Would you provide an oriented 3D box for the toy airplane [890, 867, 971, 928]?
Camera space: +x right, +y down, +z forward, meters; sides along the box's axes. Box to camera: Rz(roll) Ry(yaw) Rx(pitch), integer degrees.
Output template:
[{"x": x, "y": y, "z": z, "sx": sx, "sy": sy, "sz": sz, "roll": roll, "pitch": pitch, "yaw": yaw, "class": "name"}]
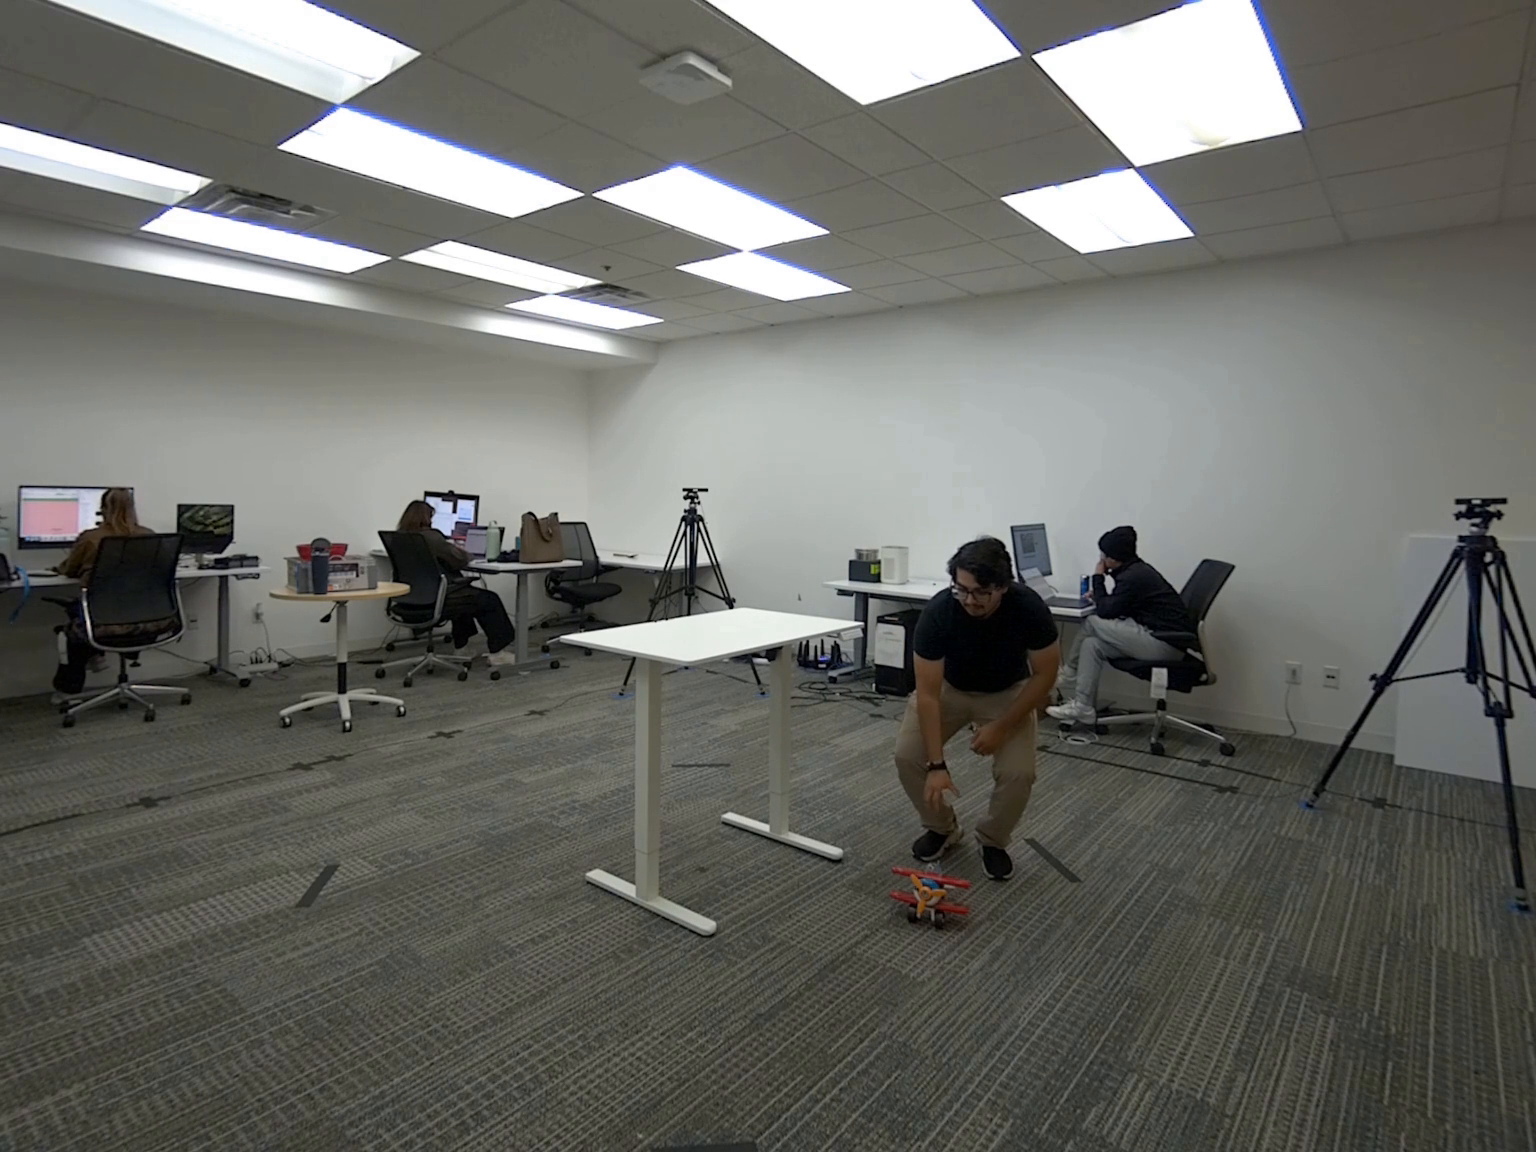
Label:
[{"x": 0.520, "y": 1.041, "z": 2.825, "sx": 0.250, "sy": 0.156, "sz": 0.262, "roll": 2, "pitch": 6, "yaw": -6, "class": "toy airplane"}]
